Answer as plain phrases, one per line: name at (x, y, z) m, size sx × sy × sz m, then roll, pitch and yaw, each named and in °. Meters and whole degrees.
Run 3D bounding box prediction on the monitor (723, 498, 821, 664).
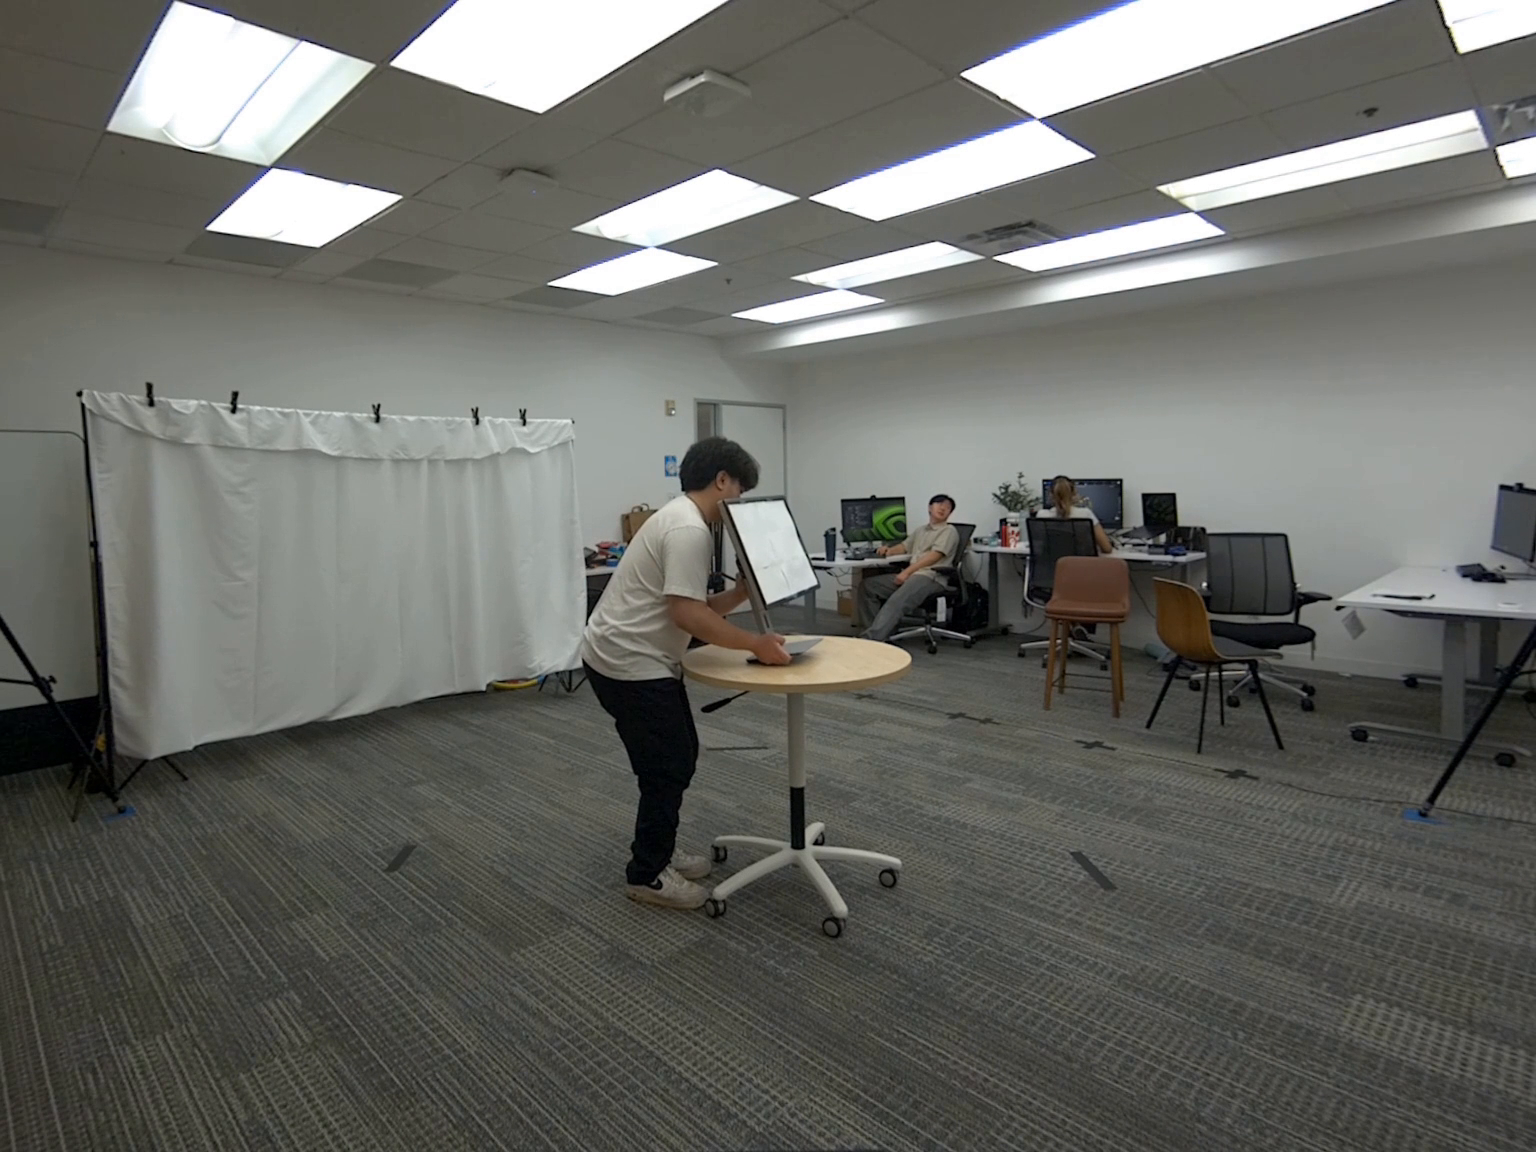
monitor at (-0.021, 0.011, 2.868) m, size 0.213 × 0.556 × 0.556 m, roll -17°, pitch -1°, yaw 22°
